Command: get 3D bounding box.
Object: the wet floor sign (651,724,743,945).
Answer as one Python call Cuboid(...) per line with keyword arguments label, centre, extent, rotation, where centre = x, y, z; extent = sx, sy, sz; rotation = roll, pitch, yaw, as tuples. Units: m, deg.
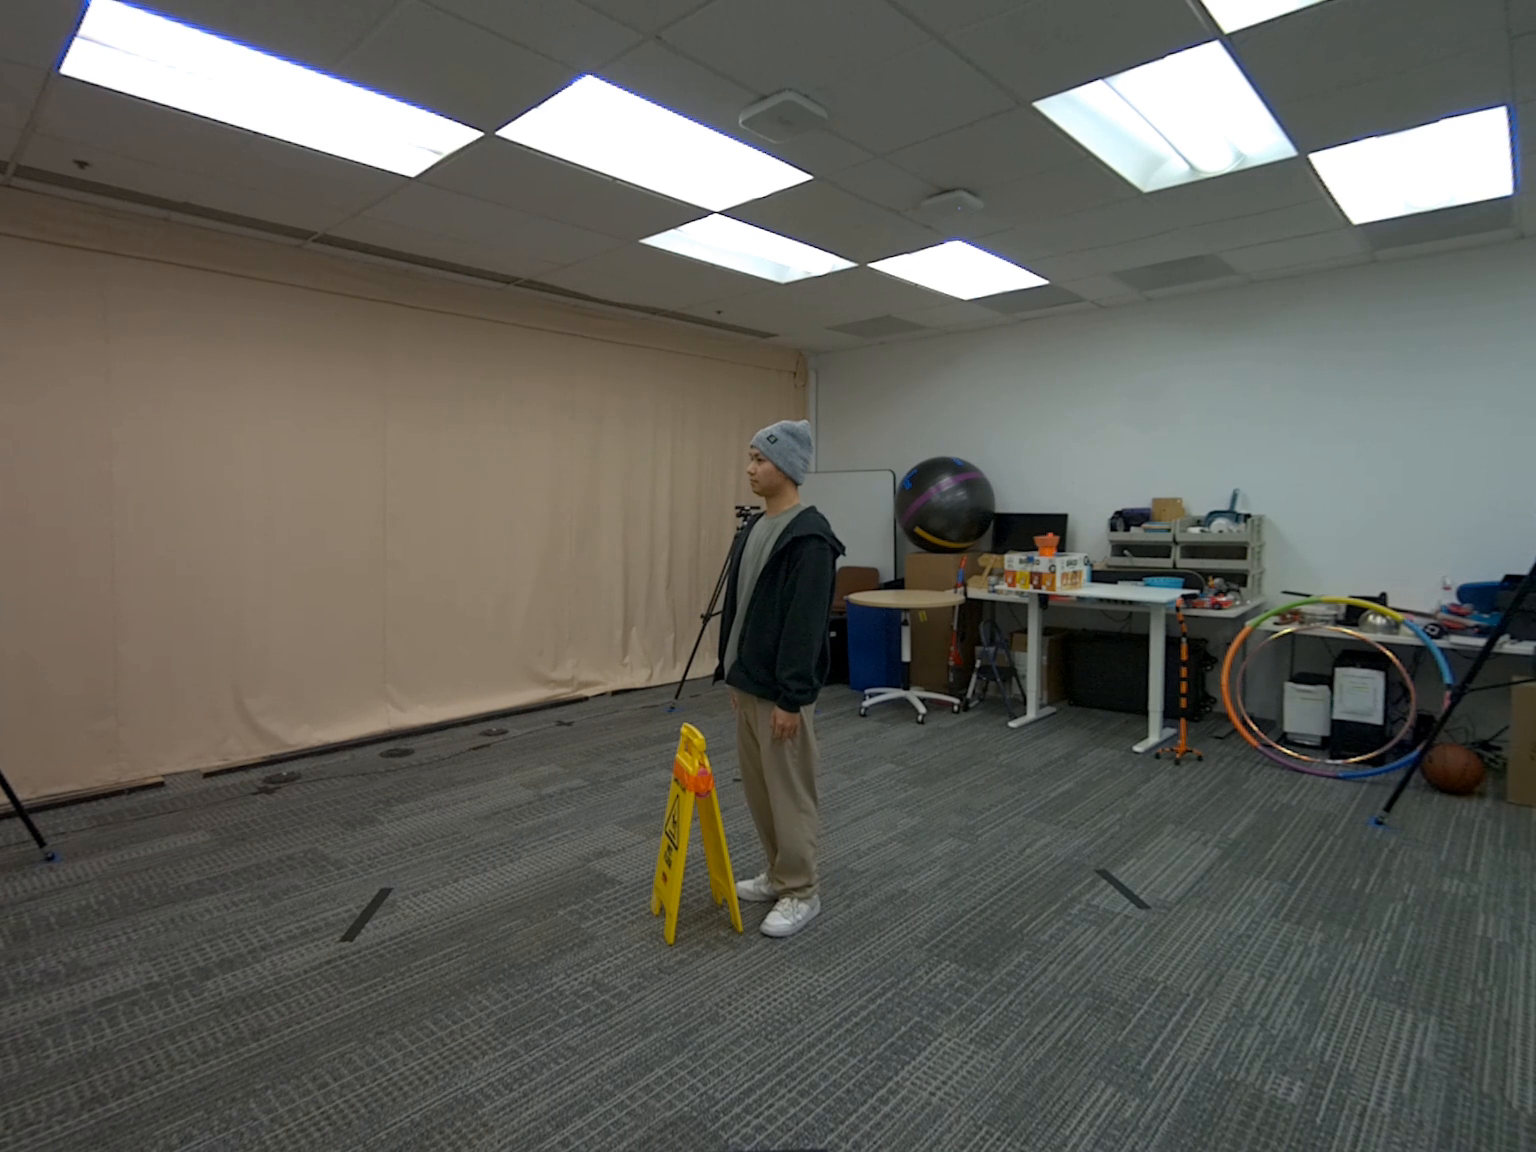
Cuboid(label="wet floor sign", centre=(-0.247, 0.833, 2.816), extent=(0.284, 0.645, 0.288), rotation=(-3, 3, -19))
